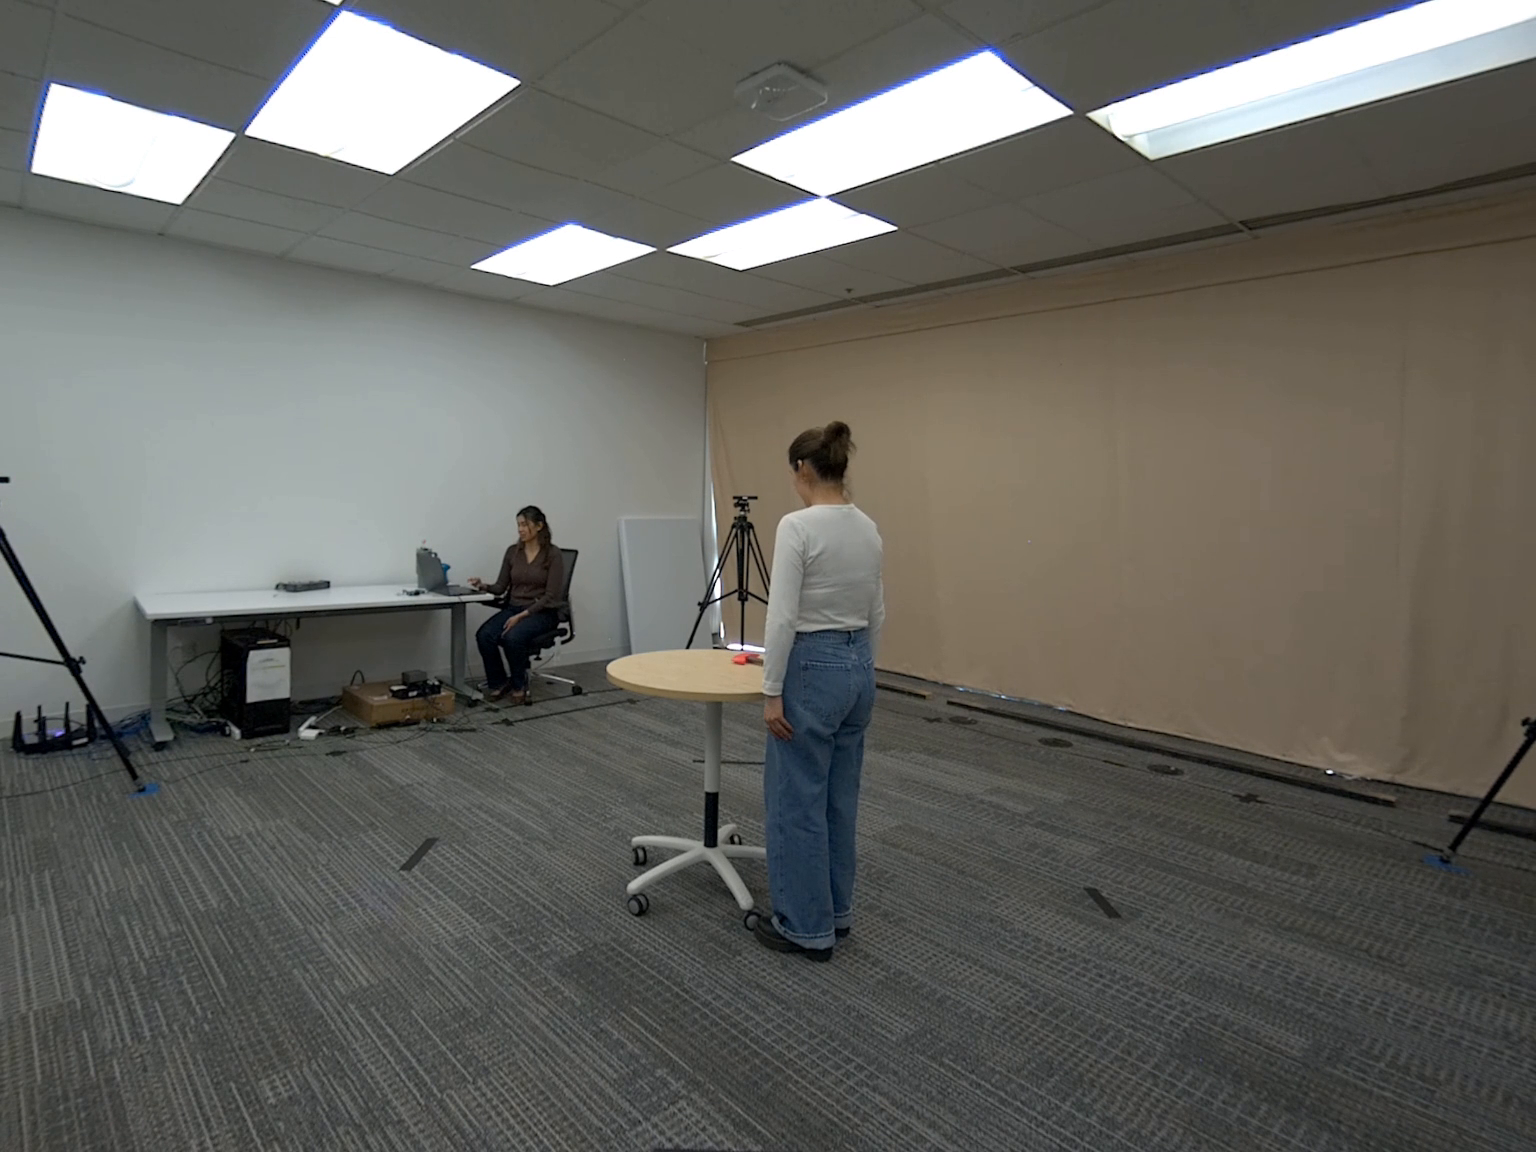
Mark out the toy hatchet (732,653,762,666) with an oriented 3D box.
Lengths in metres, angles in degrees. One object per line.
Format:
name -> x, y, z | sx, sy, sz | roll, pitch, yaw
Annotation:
toy hatchet -> -0.050, 0.321, 3.044 | 0.129, 0.029, 0.276 | -1, 7, -24
